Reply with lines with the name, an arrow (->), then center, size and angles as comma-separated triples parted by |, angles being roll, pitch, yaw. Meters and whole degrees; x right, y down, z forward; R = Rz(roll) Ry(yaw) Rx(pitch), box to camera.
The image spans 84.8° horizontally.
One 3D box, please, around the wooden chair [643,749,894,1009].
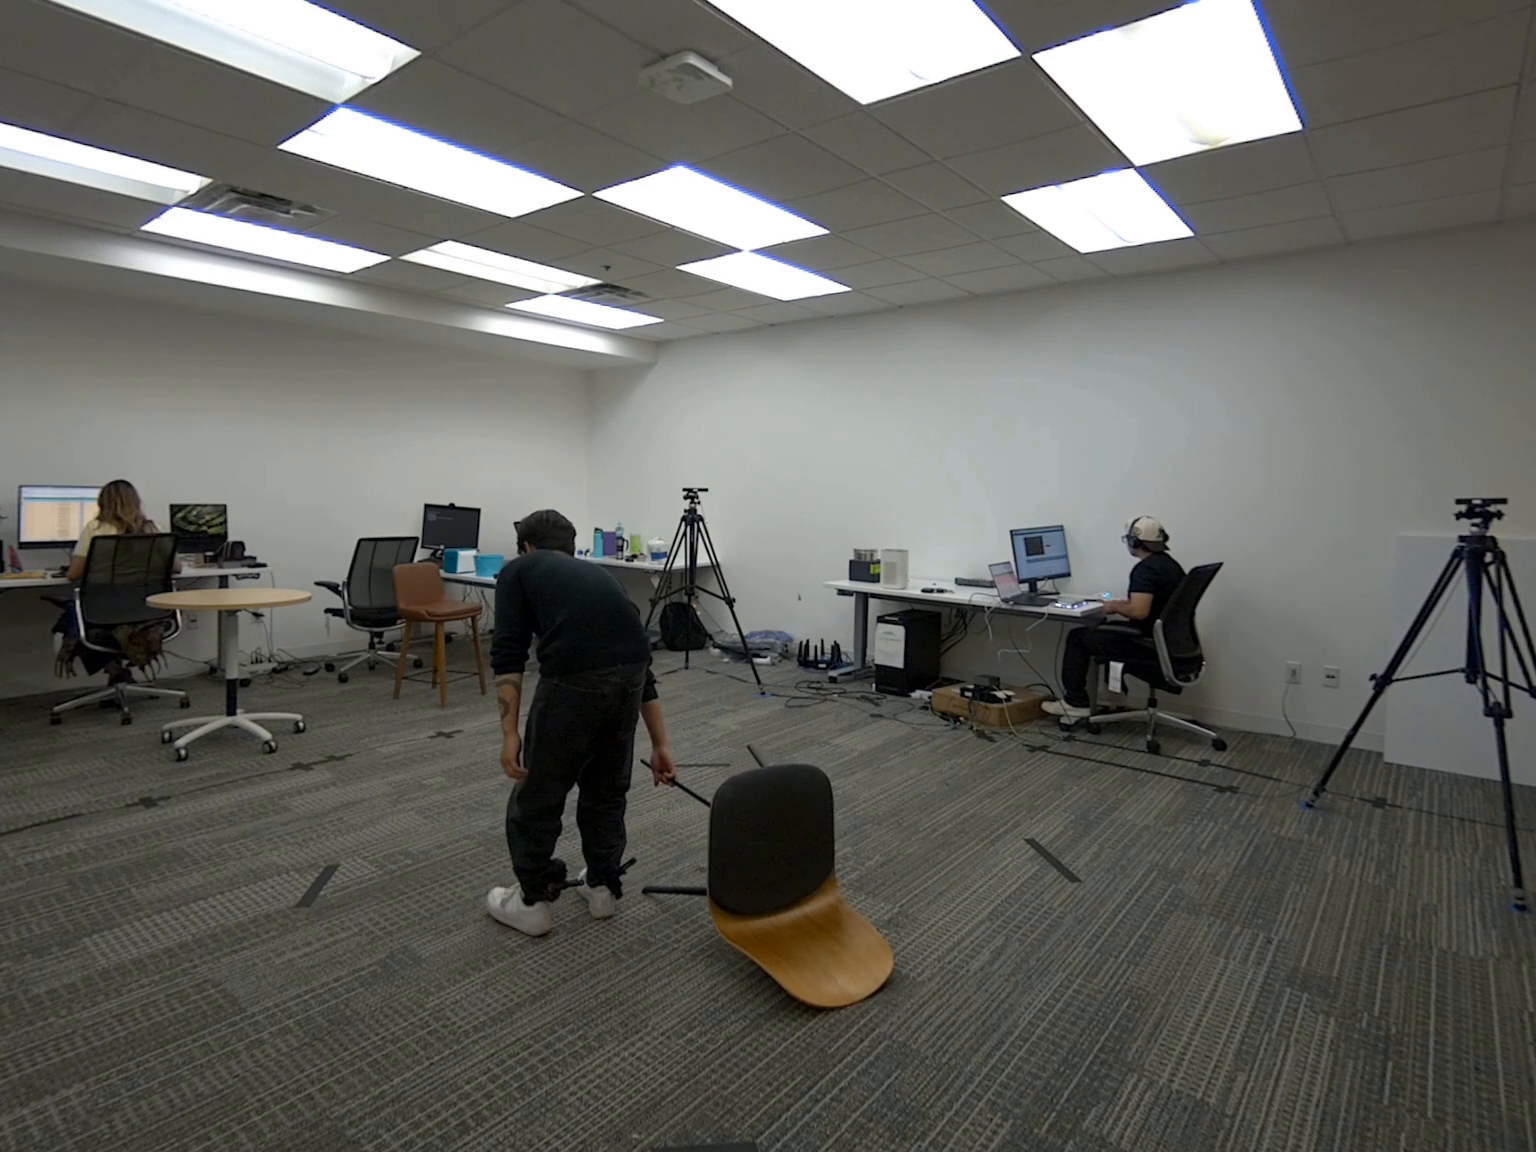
wooden chair -> -0.016, 0.861, 2.659 | 0.465, 0.521, 0.906 | -2, 7, -33
